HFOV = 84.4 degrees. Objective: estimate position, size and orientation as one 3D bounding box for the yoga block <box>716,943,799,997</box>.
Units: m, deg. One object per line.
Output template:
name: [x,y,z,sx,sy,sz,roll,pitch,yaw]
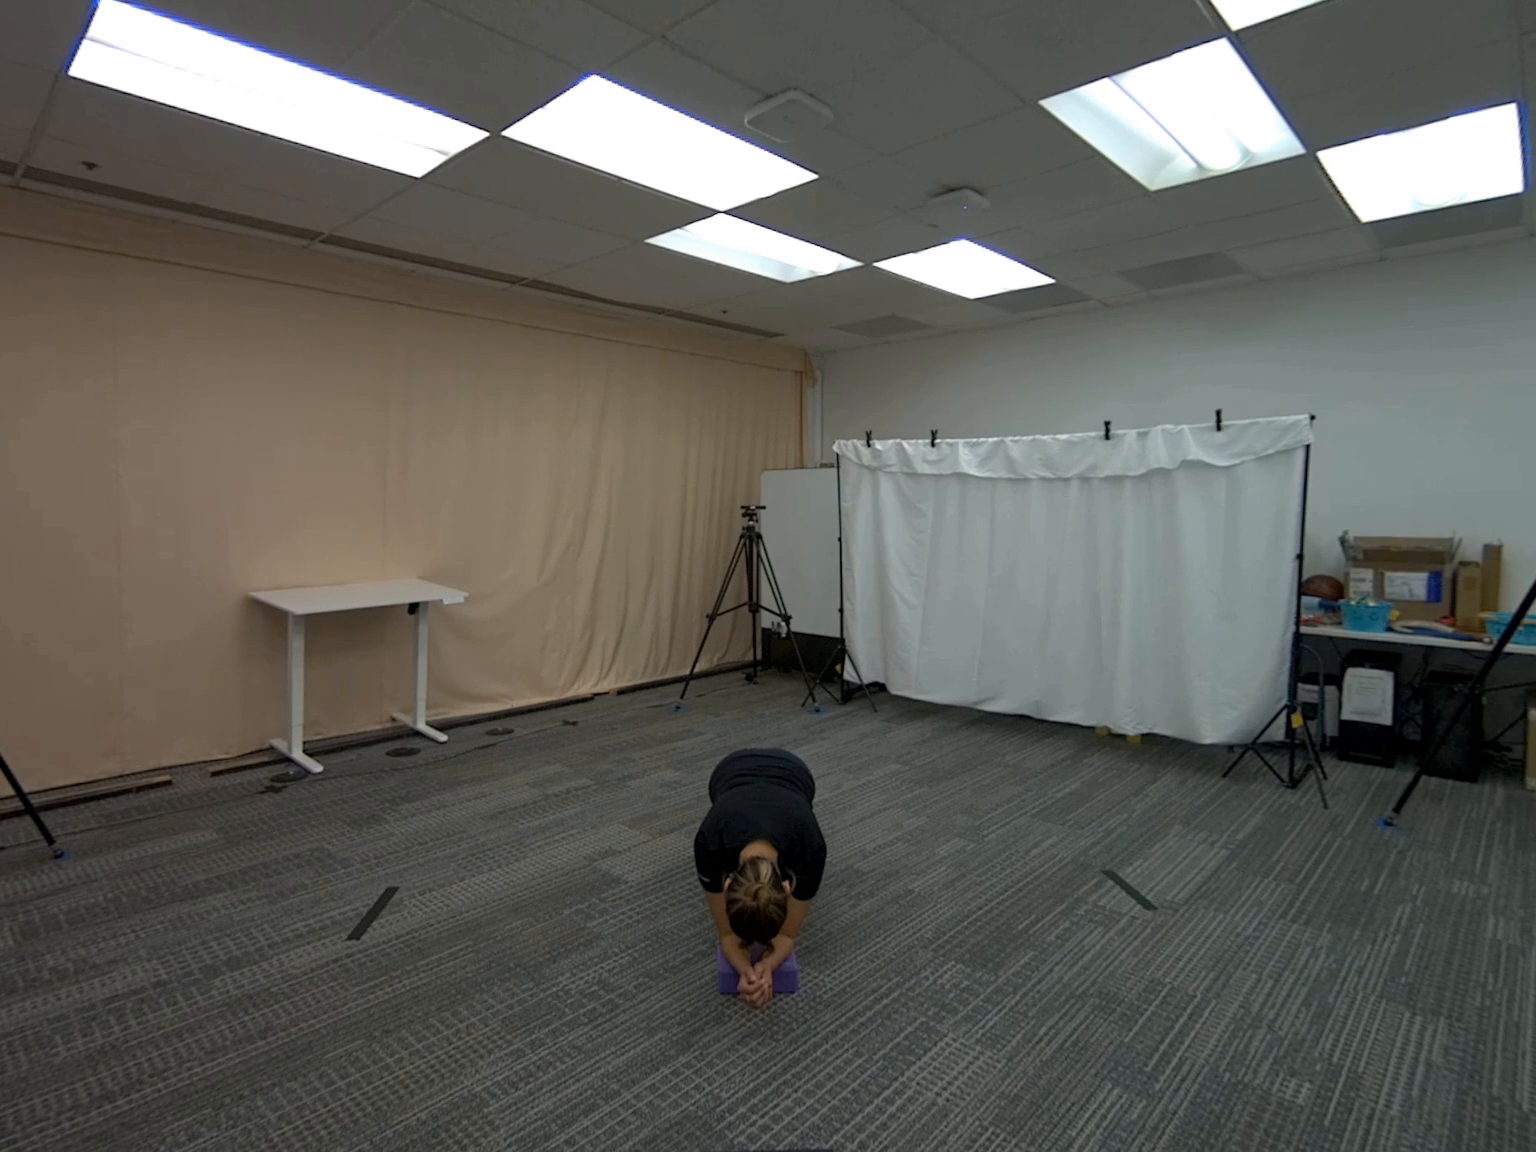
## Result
yoga block: [-0.030,1.142,2.470,0.229,0.076,0.149,0,6,-1]
